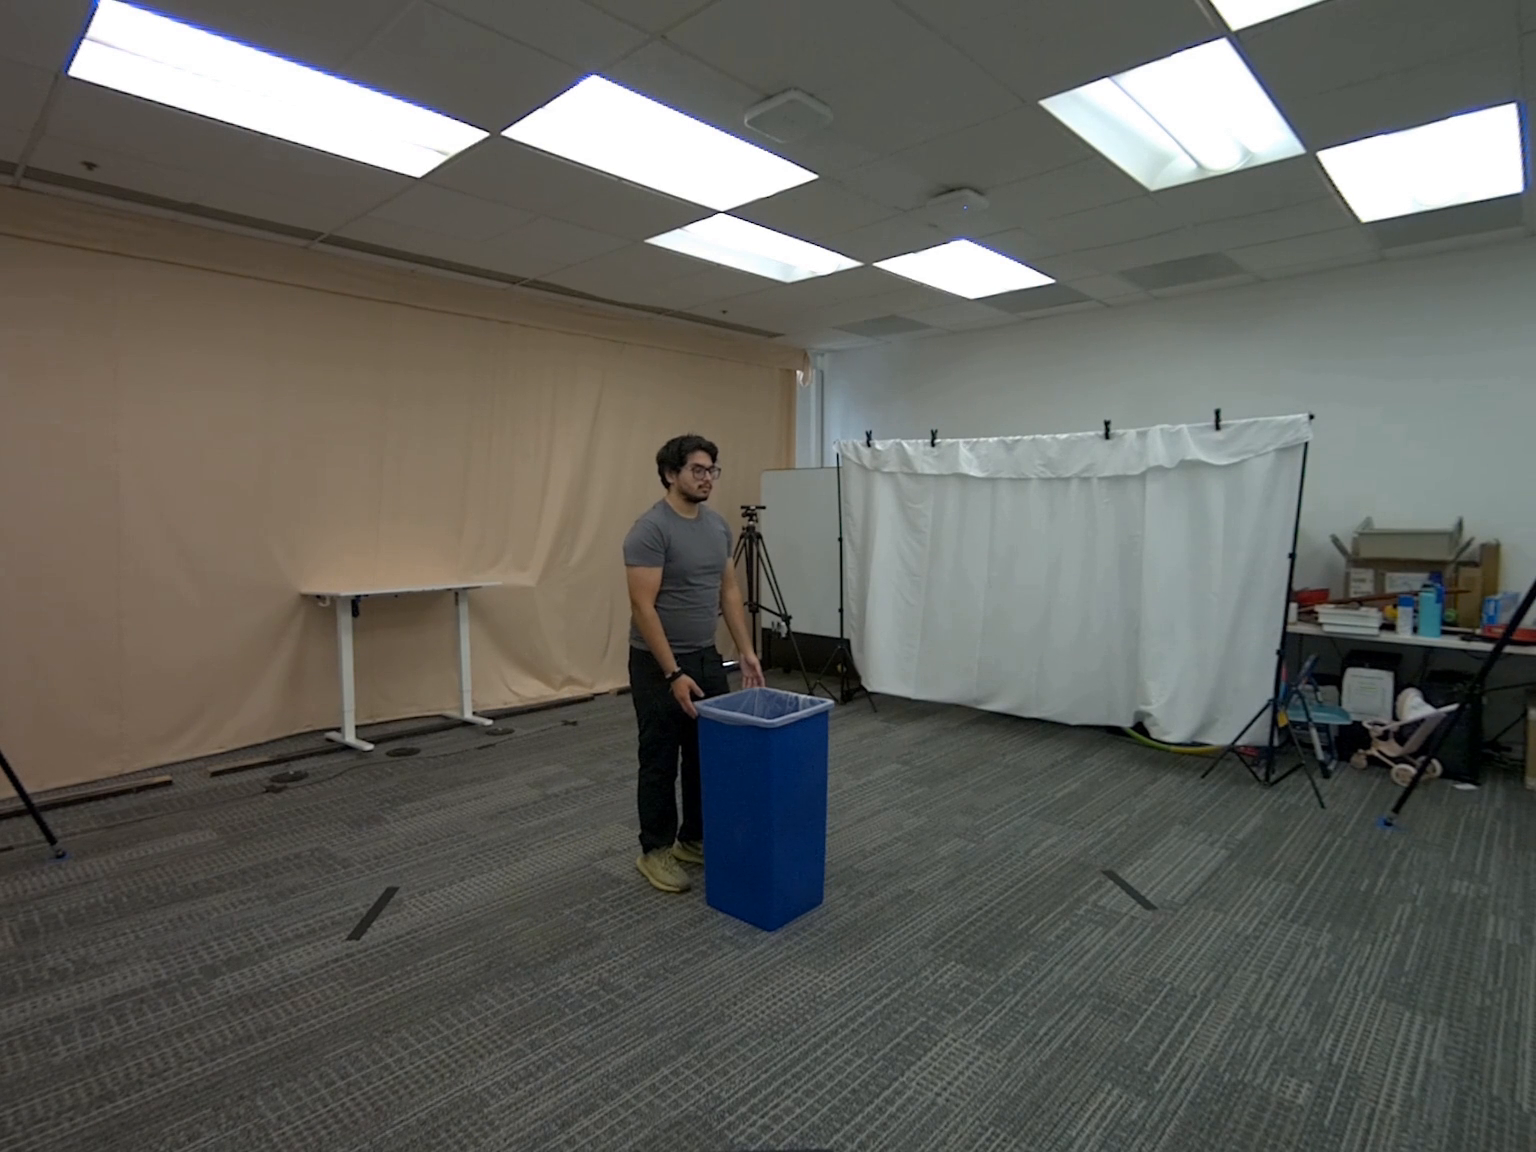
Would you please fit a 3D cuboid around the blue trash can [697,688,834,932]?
[{"bbox_3d":[-0.017,0.790,2.932,0.386,0.712,0.367,3,5,40],"label":"blue trash can"}]
